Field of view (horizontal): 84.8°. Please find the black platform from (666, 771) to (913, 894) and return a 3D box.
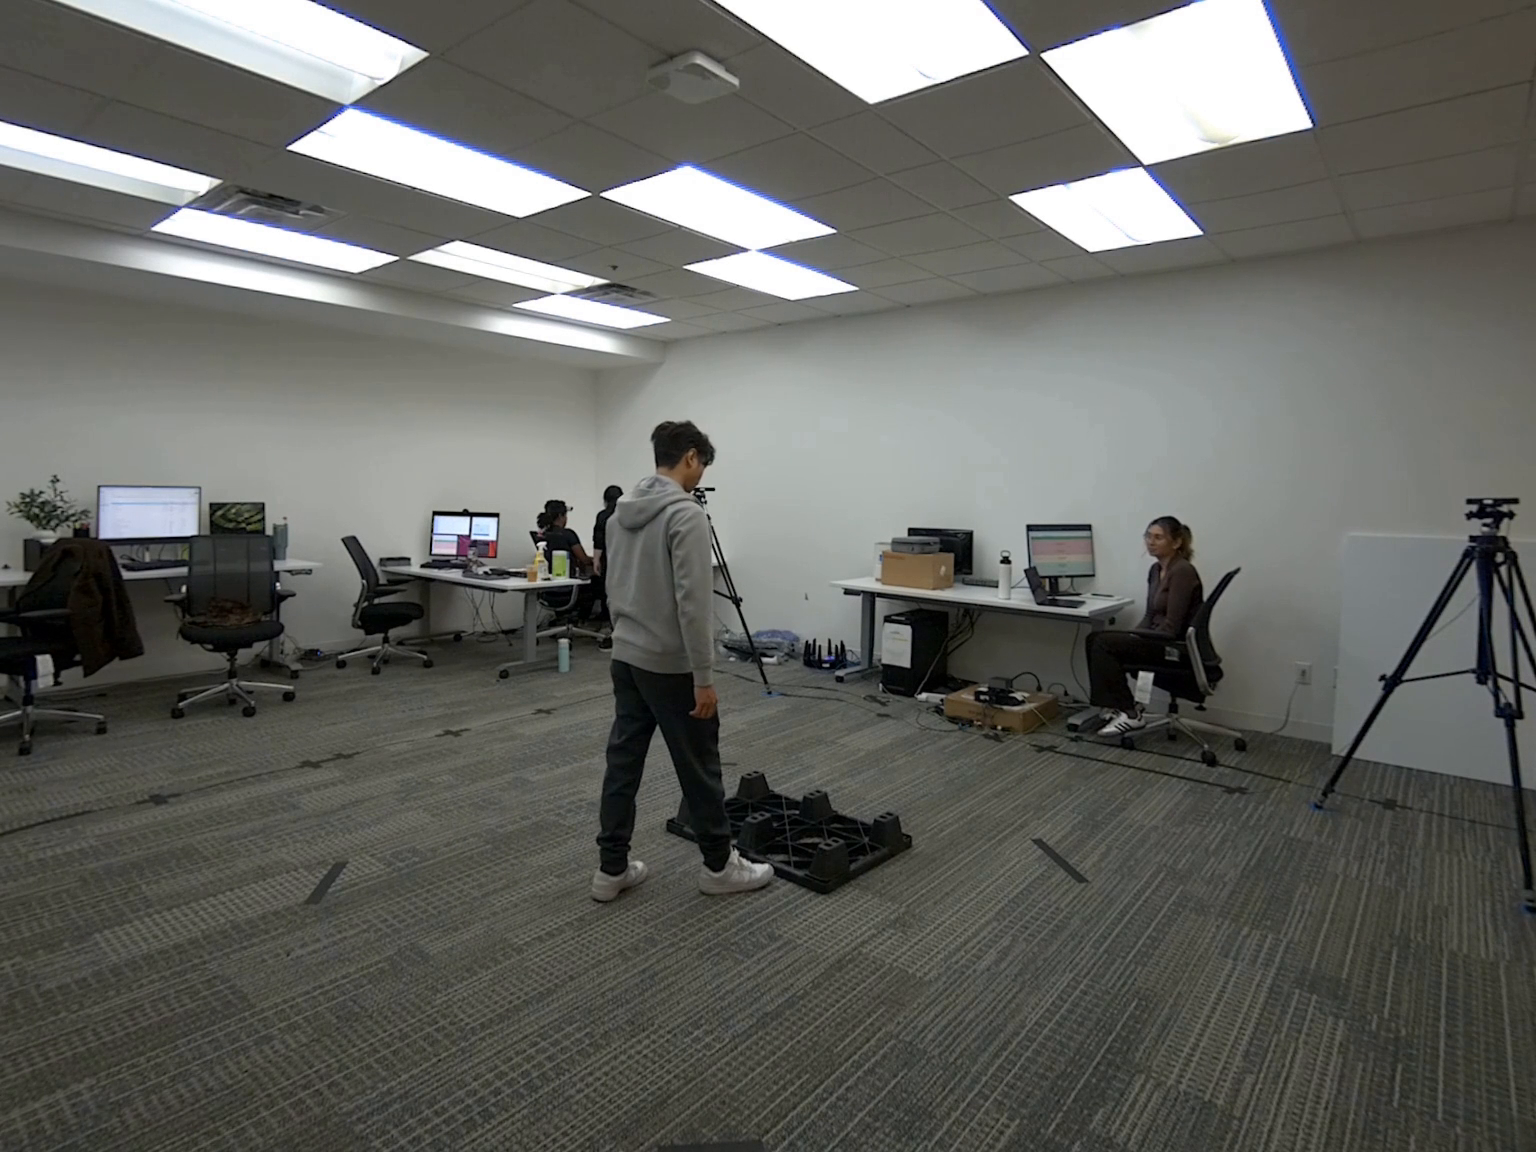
[{"bbox_3d":[0.065,0.978,3.400,0.833,0.143,0.587,6,7,40],"label":"black platform"}]
